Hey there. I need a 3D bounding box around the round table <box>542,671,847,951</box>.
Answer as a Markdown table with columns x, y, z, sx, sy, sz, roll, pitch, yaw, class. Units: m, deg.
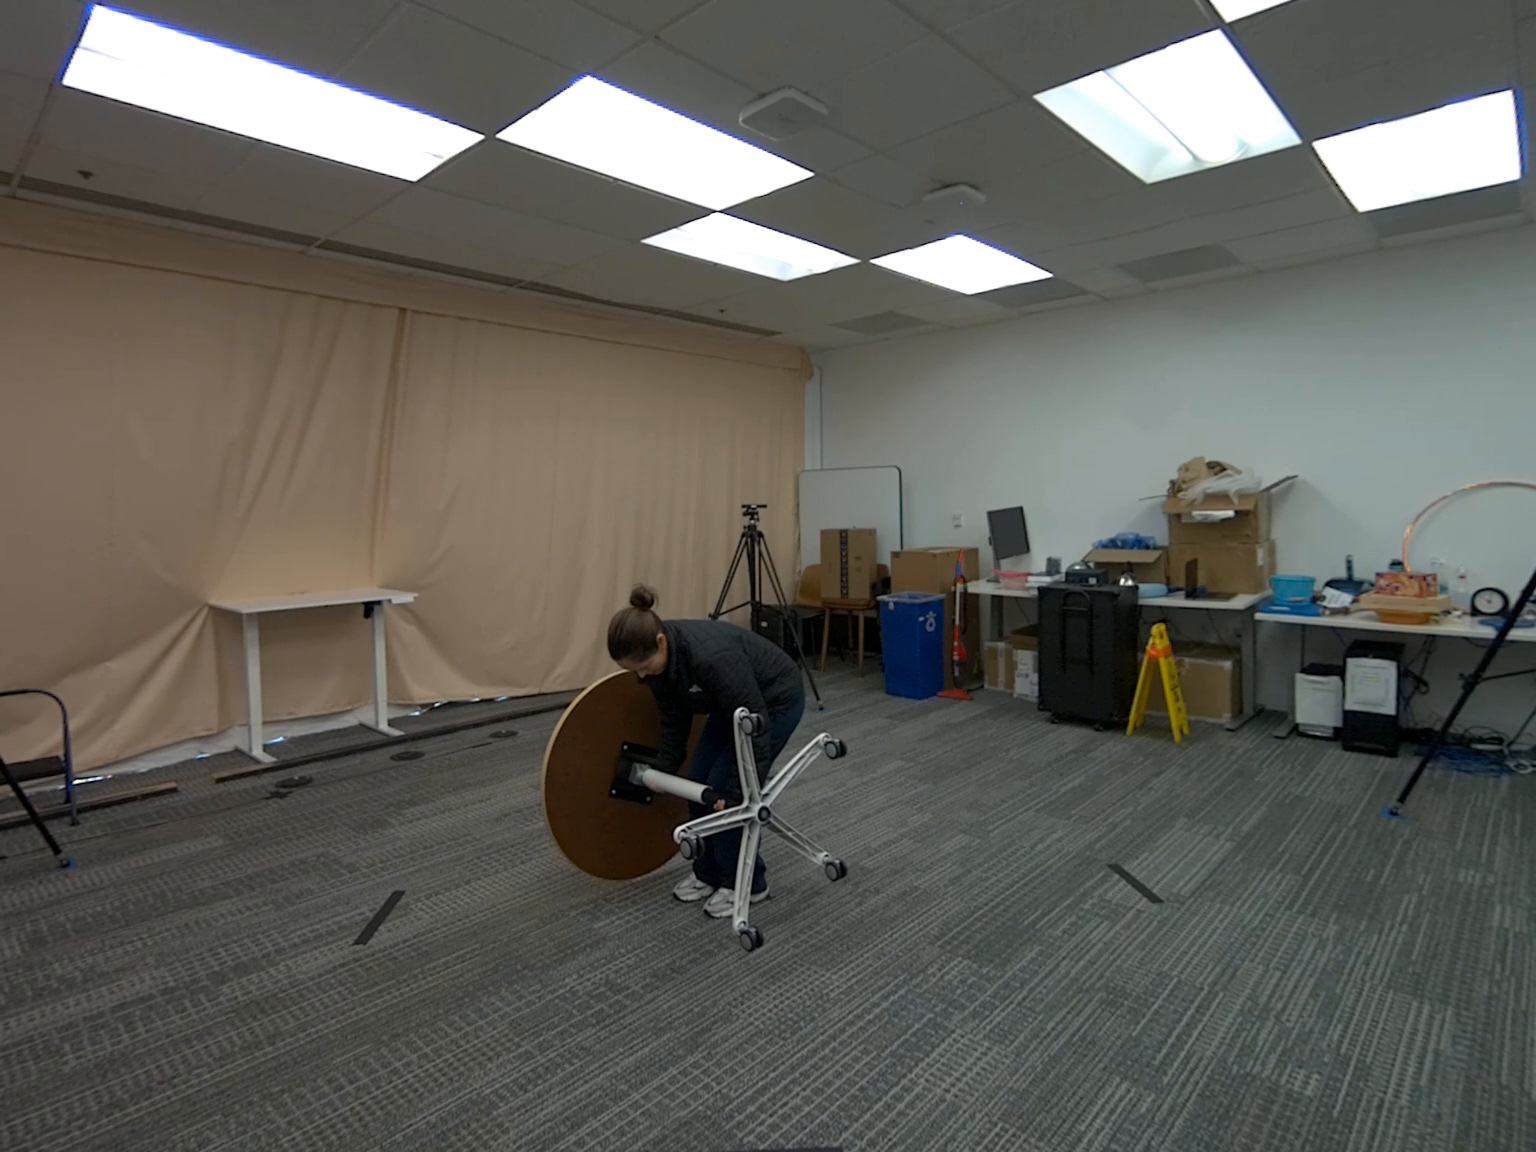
| x | y | z | sx | sy | sz | roll | pitch | yaw | class |
| --- | --- | --- | --- | --- | --- | --- | --- | --- | --- |
| -0.205 | 0.738 | 2.839 | 0.761 | 0.784 | 0.812 | -4 | 3 | -43 | round table |
